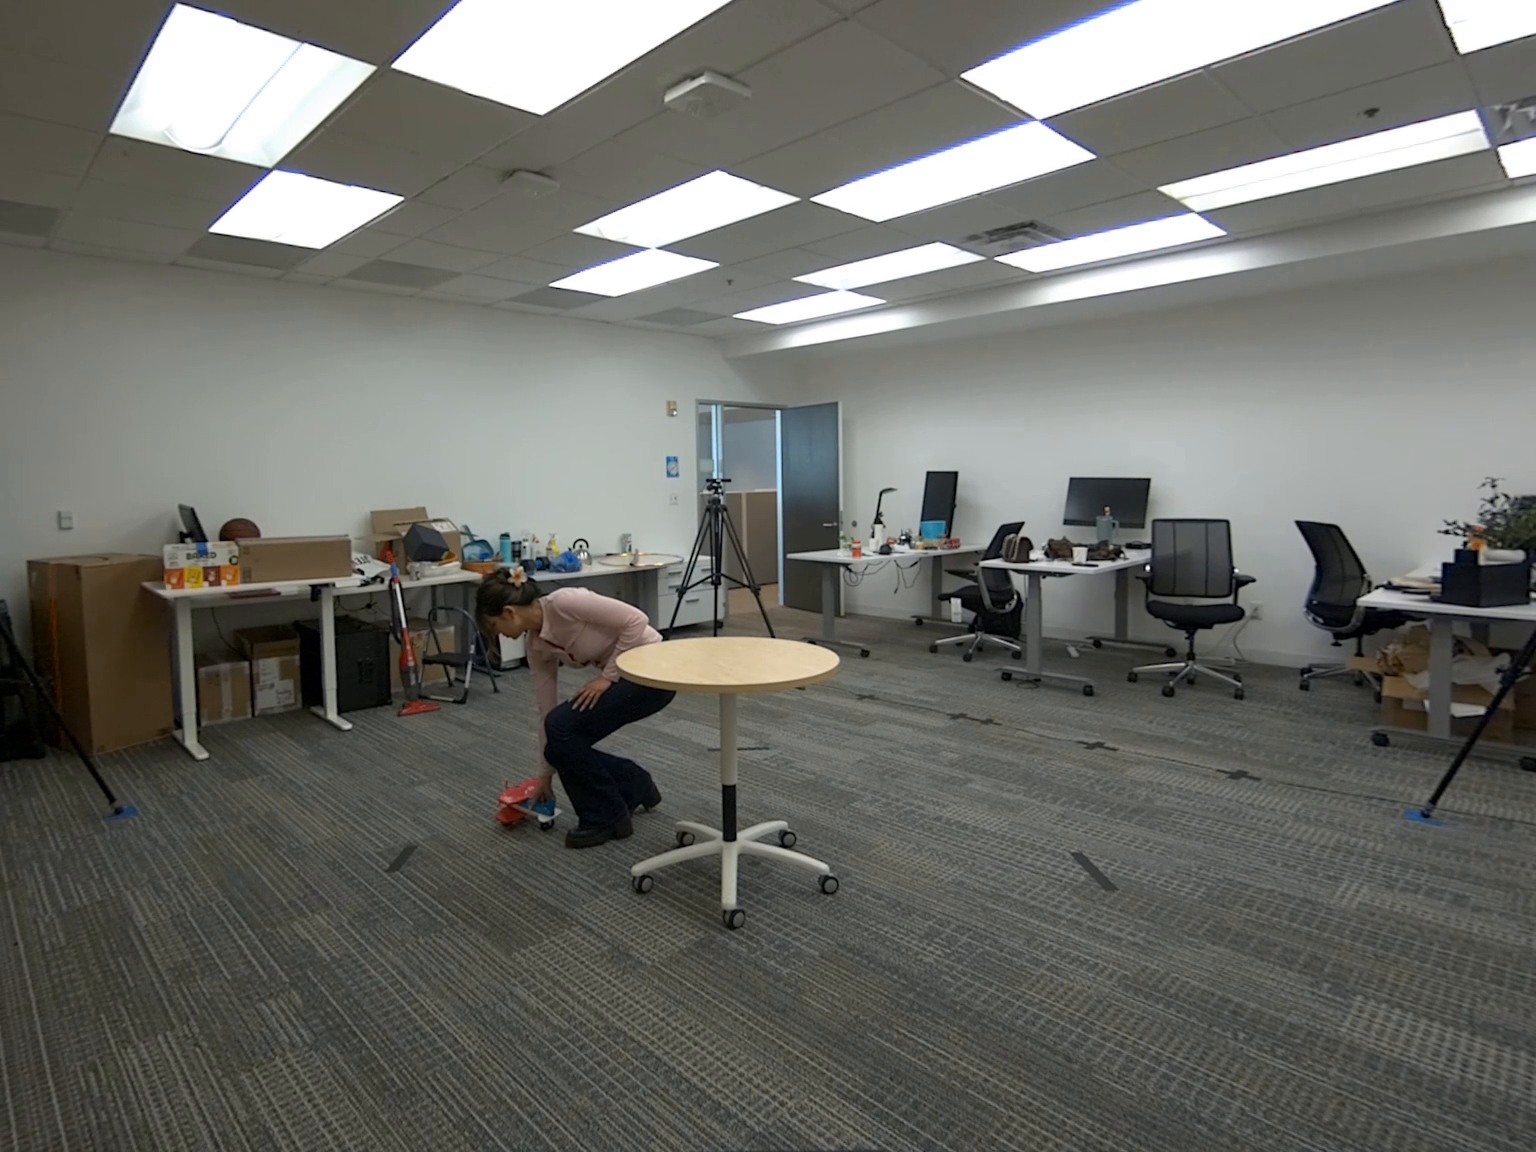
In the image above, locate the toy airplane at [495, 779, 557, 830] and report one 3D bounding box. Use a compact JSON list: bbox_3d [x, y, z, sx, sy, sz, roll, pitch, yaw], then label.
[{"bbox_3d":[-0.965,0.943,3.516,0.258,0.155,0.254,-1,7,-6],"label":"toy airplane"}]
